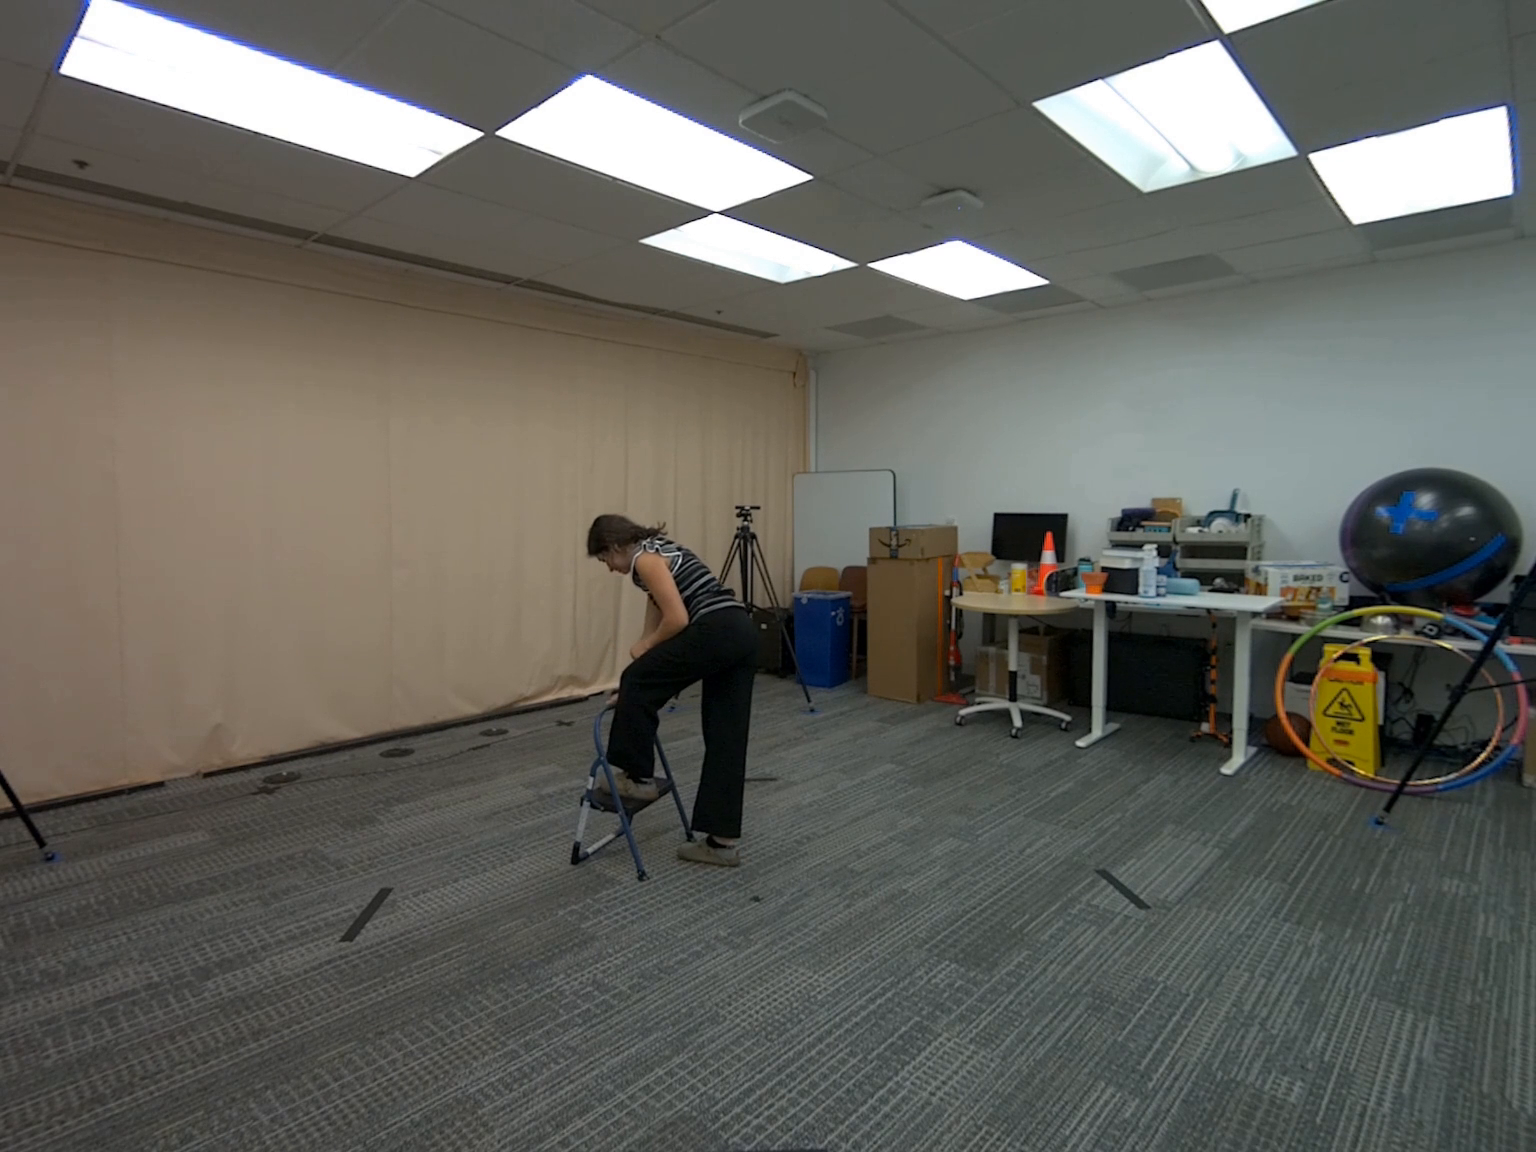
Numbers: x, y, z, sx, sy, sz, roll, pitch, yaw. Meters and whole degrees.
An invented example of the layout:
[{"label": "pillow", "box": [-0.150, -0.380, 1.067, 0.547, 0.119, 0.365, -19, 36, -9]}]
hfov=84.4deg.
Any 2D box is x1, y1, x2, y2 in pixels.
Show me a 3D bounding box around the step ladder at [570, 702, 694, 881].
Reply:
[{"label": "step ladder", "box": [-0.538, 0.812, 3.383, 0.358, 0.605, 0.421, 0, 3, 23]}]
